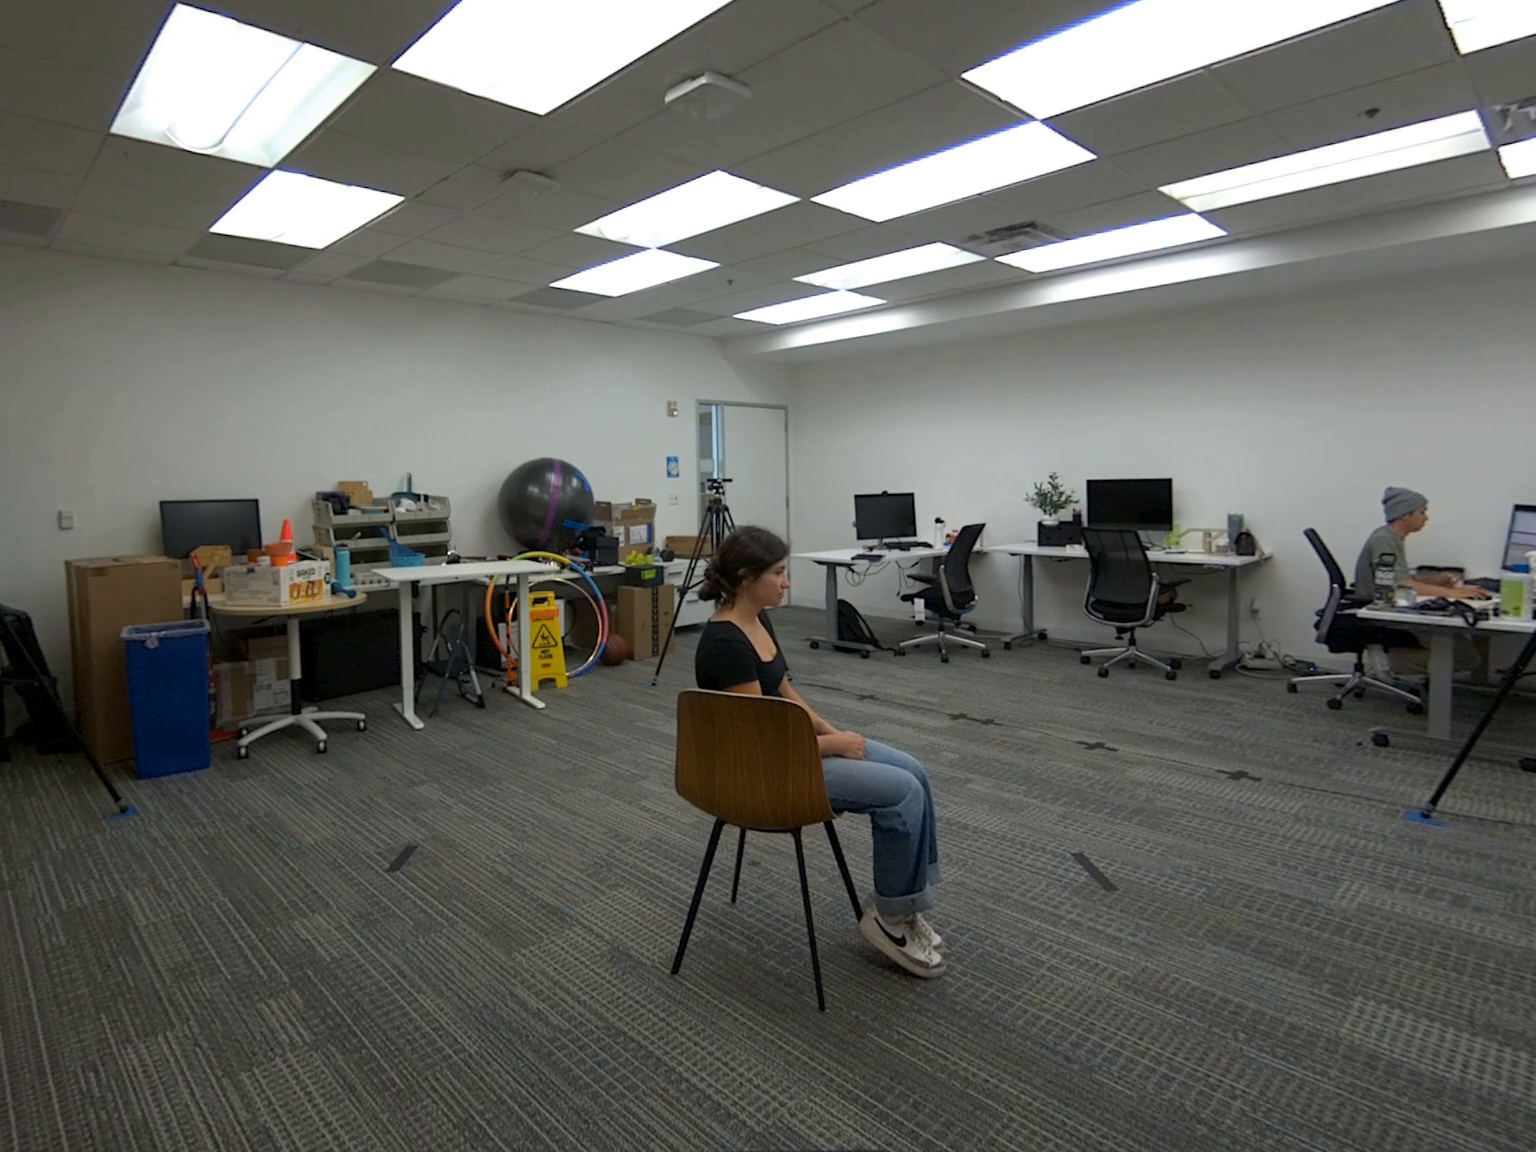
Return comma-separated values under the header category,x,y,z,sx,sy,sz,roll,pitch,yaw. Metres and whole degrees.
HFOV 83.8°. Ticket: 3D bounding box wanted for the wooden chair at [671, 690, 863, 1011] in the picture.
category,x,y,z,sx,sy,sz,roll,pitch,yaw
wooden chair,0.008,0.689,2.508,0.488,0.870,0.516,2,9,22
